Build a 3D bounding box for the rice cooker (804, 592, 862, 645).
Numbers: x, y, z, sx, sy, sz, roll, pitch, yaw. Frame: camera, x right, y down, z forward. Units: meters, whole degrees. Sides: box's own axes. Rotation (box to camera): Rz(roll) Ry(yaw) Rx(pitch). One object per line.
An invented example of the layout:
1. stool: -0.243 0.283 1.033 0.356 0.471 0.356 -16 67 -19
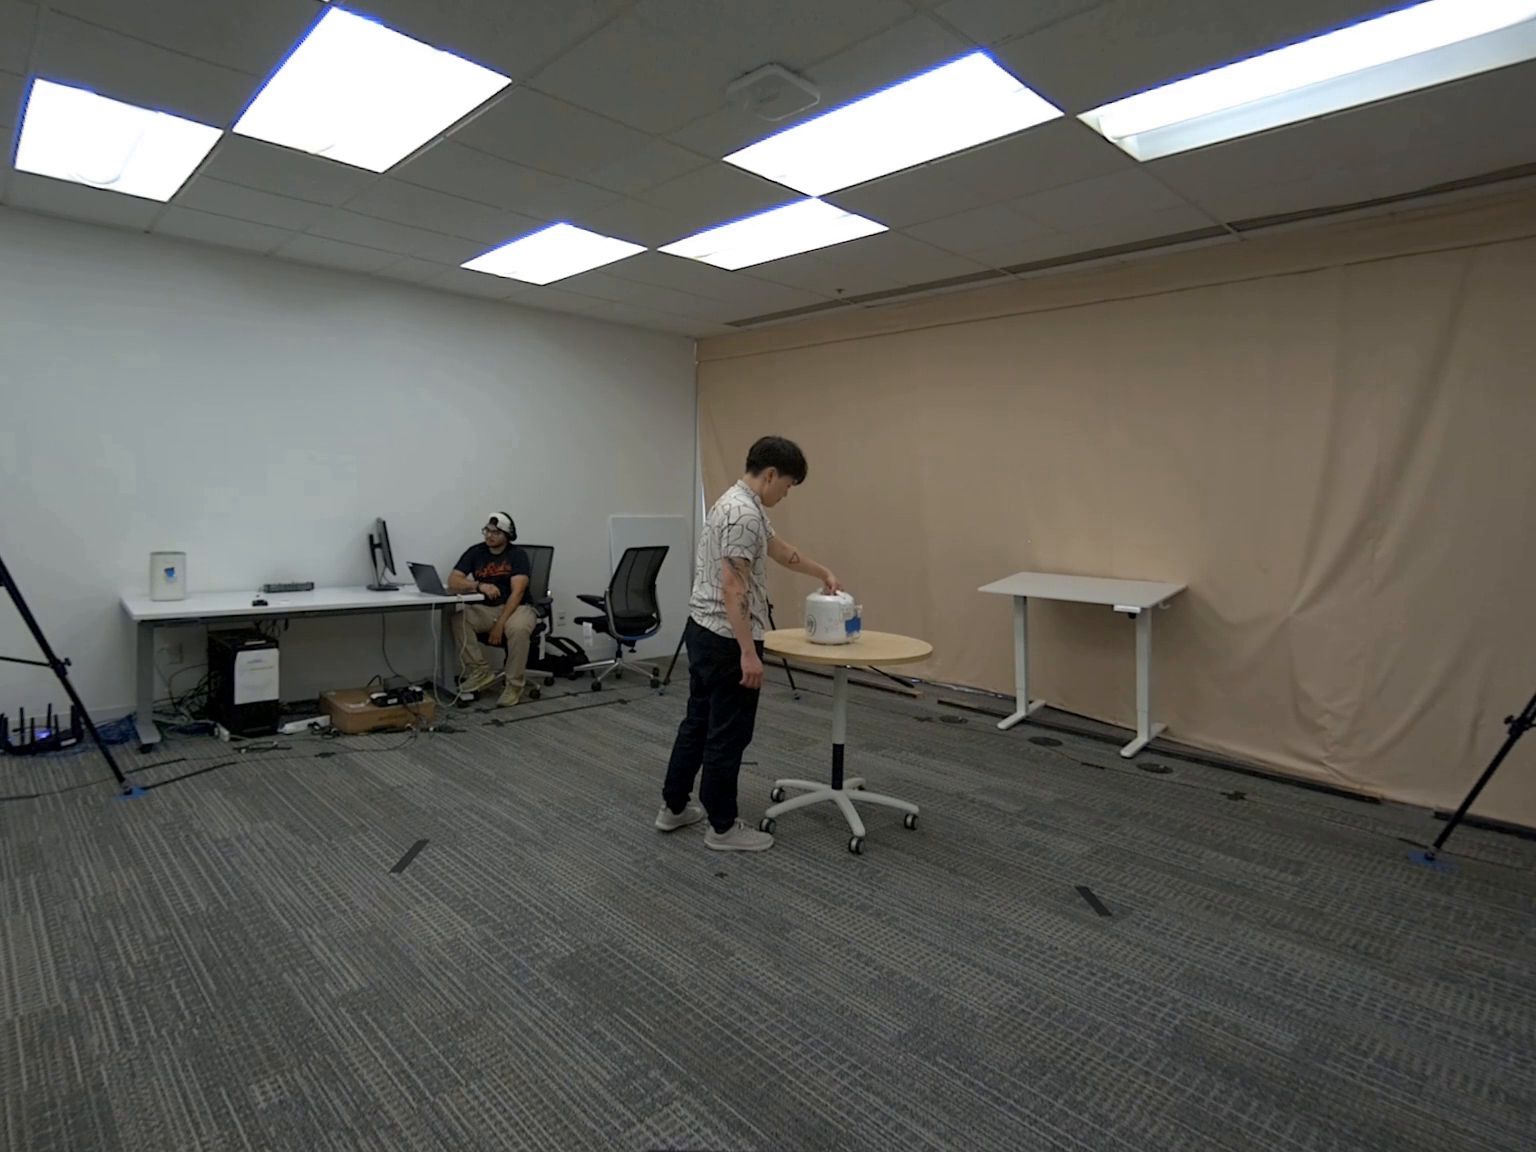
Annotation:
1. rice cooker: 0.255 0.167 3.623 0.212 0.232 0.226 -1 4 -37
